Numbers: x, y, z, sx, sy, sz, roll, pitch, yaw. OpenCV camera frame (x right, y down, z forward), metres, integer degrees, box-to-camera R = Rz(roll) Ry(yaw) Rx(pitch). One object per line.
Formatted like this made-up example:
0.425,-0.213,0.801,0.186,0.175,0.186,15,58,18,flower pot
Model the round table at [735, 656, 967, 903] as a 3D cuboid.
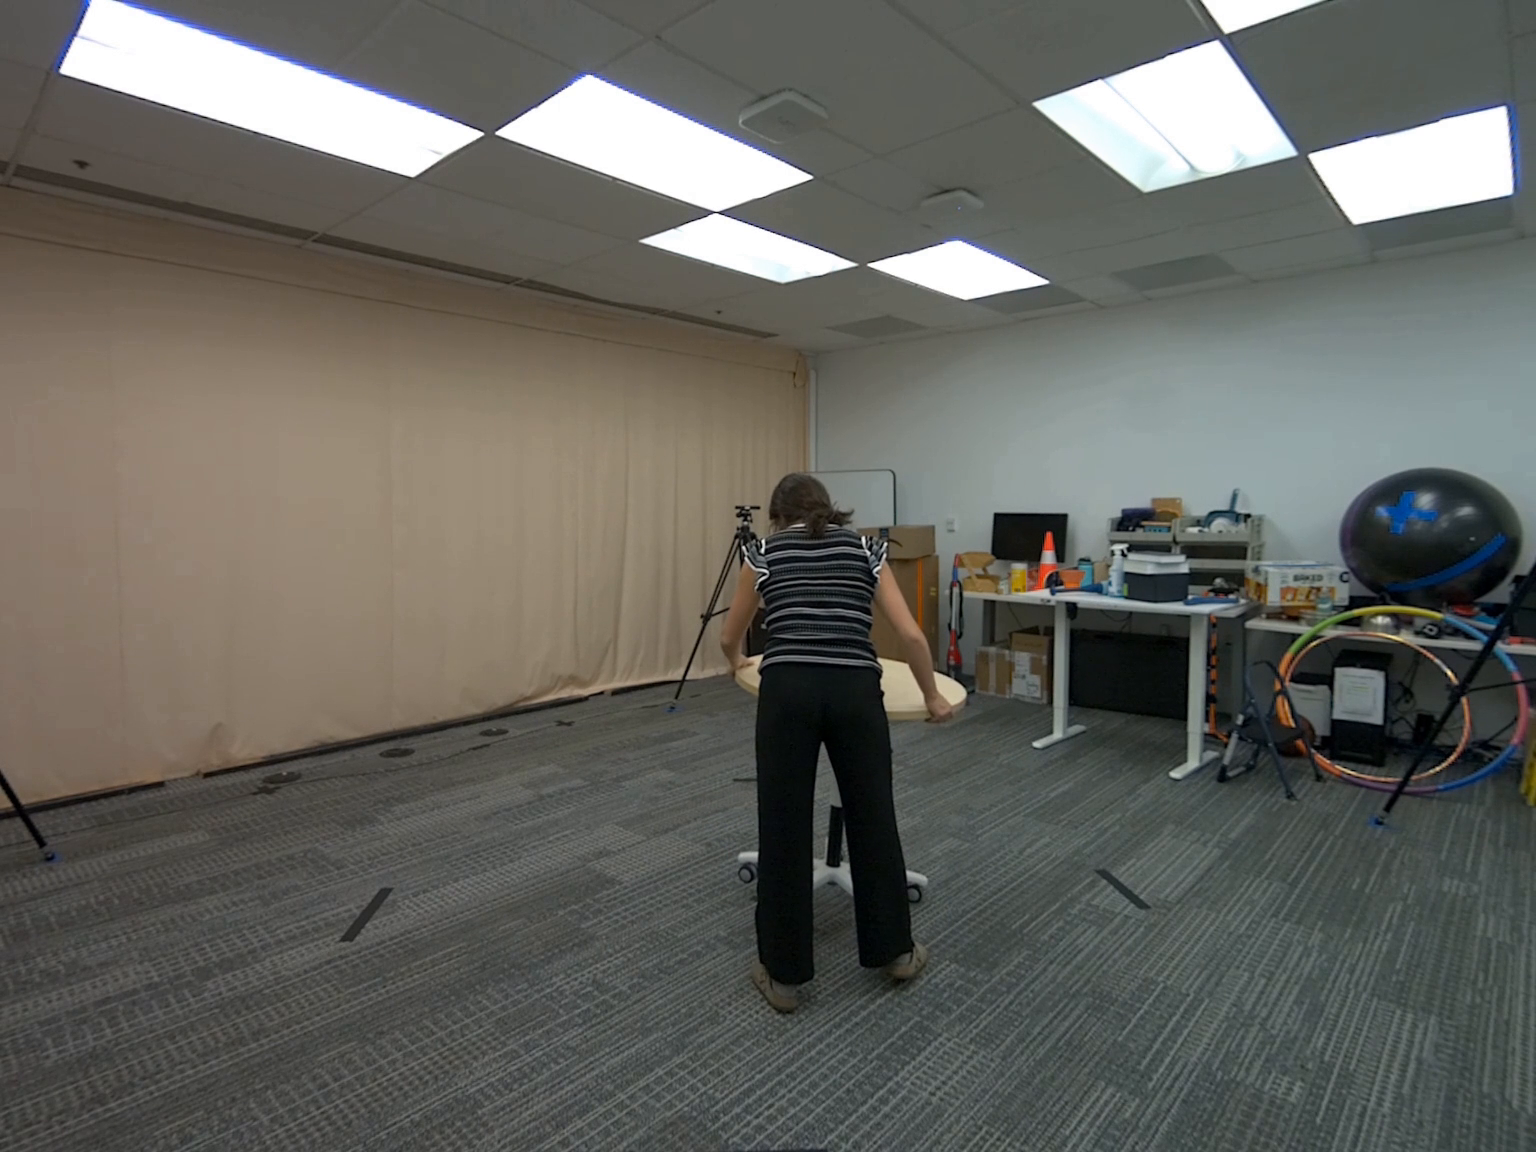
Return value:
0.232,0.734,2.864,0.784,0.784,0.789,4,6,-2,round table
